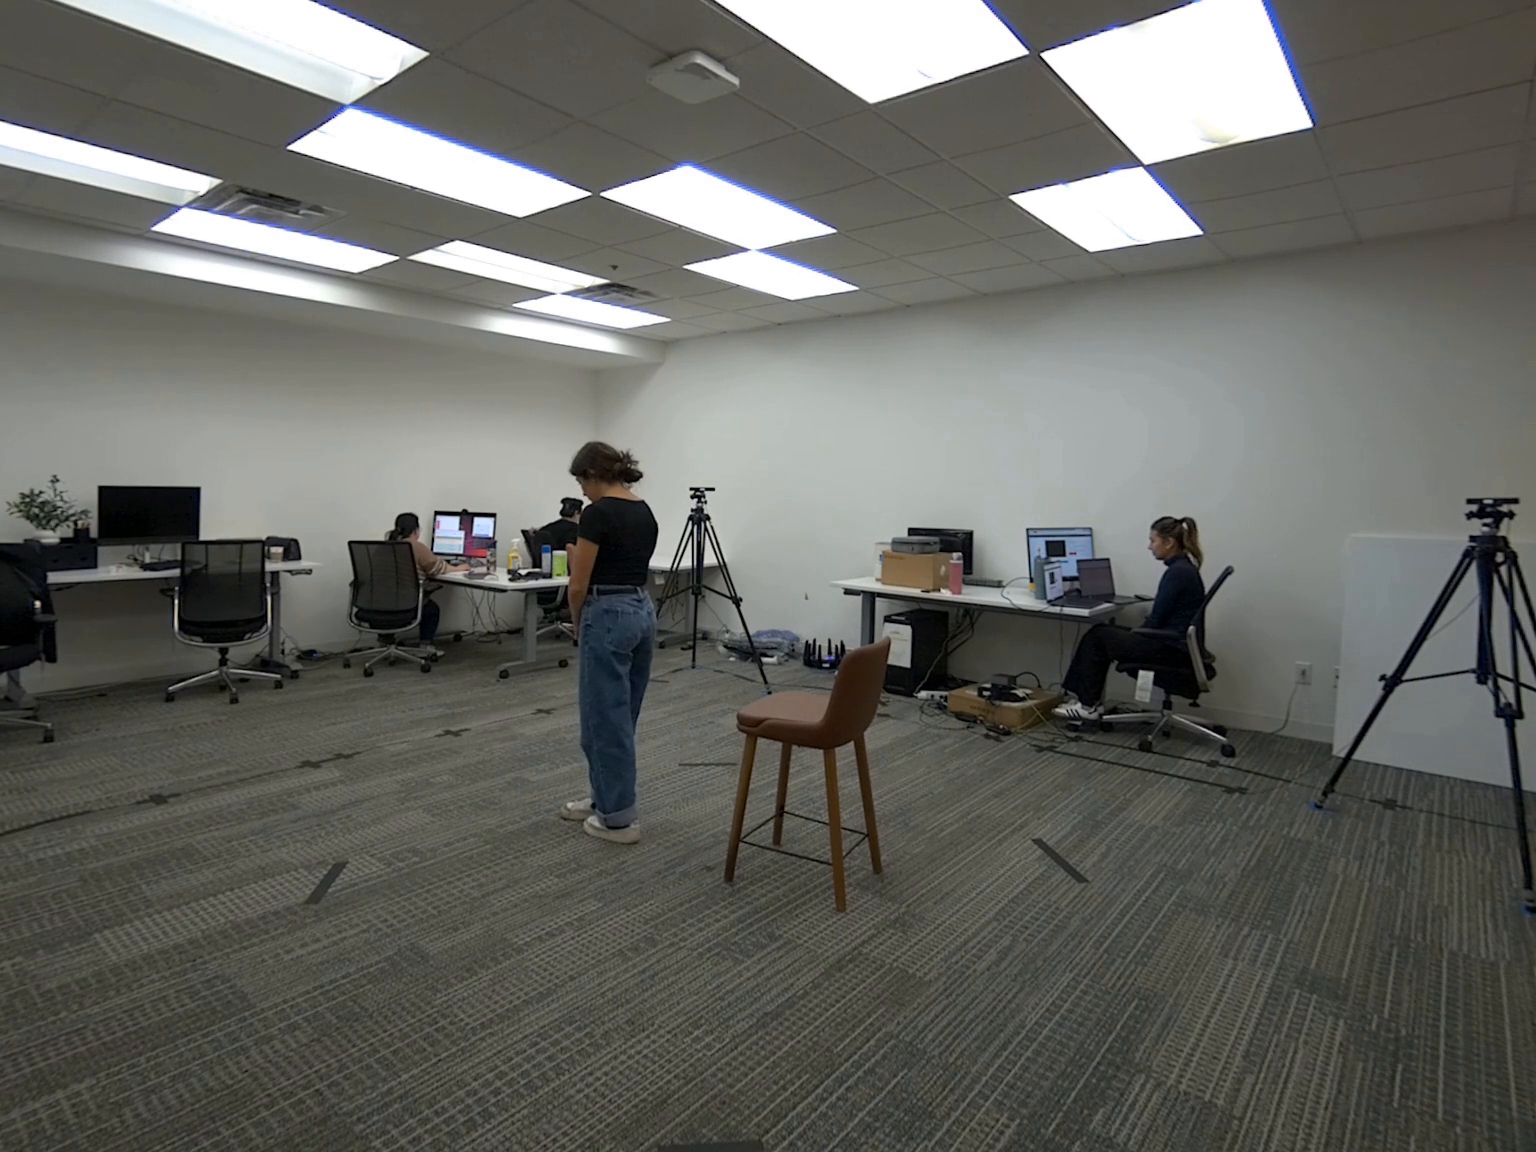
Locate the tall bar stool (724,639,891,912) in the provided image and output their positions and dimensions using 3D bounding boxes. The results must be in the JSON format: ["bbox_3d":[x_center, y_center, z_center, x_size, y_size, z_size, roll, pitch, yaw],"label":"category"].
[{"bbox_3d":[0.144,0.645,3.047,0.482,0.887,0.444,5,4,30],"label":"tall bar stool"}]
